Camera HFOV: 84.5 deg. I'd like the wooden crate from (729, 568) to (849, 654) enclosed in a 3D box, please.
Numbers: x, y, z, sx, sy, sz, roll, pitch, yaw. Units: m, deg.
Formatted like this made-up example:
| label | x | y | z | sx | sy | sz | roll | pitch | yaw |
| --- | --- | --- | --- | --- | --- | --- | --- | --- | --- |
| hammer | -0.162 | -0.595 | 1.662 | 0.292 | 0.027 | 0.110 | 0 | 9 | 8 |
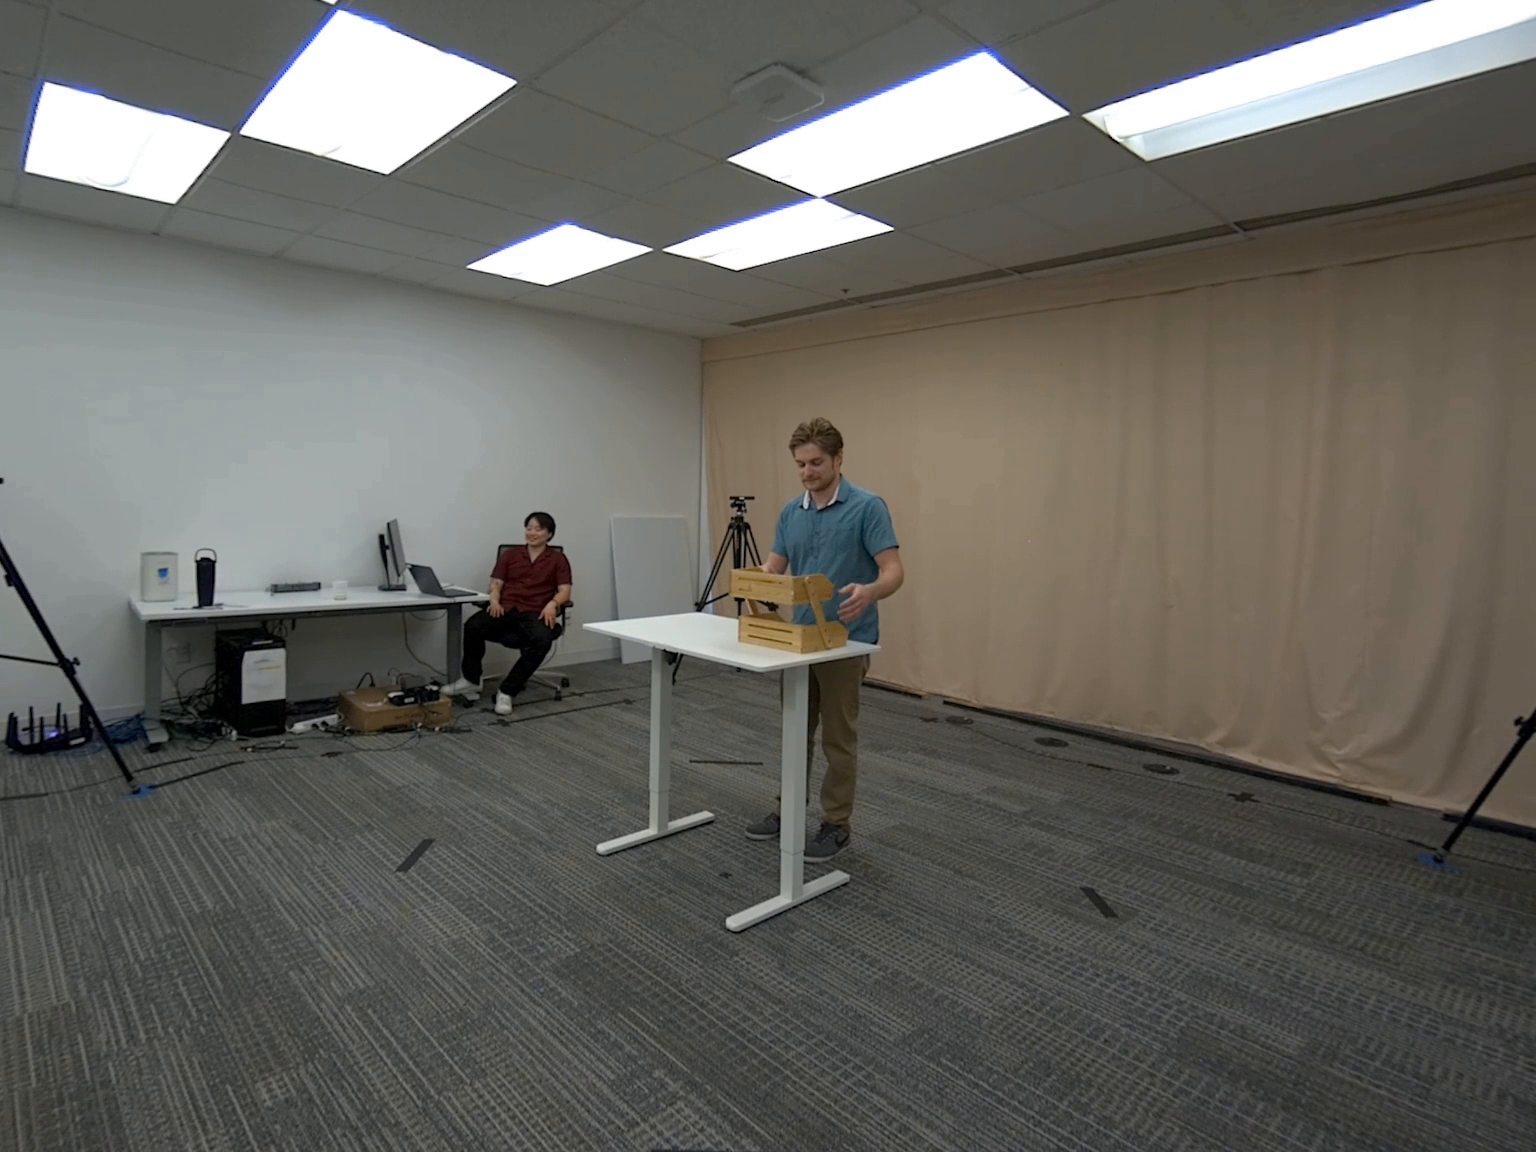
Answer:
| label | x | y | z | sx | sy | sz | roll | pitch | yaw |
| --- | --- | --- | --- | --- | --- | --- | --- | --- | --- |
| wooden crate | 0.065 | 0.110 | 2.945 | 0.333 | 0.272 | 0.295 | 6 | 7 | 44 |
